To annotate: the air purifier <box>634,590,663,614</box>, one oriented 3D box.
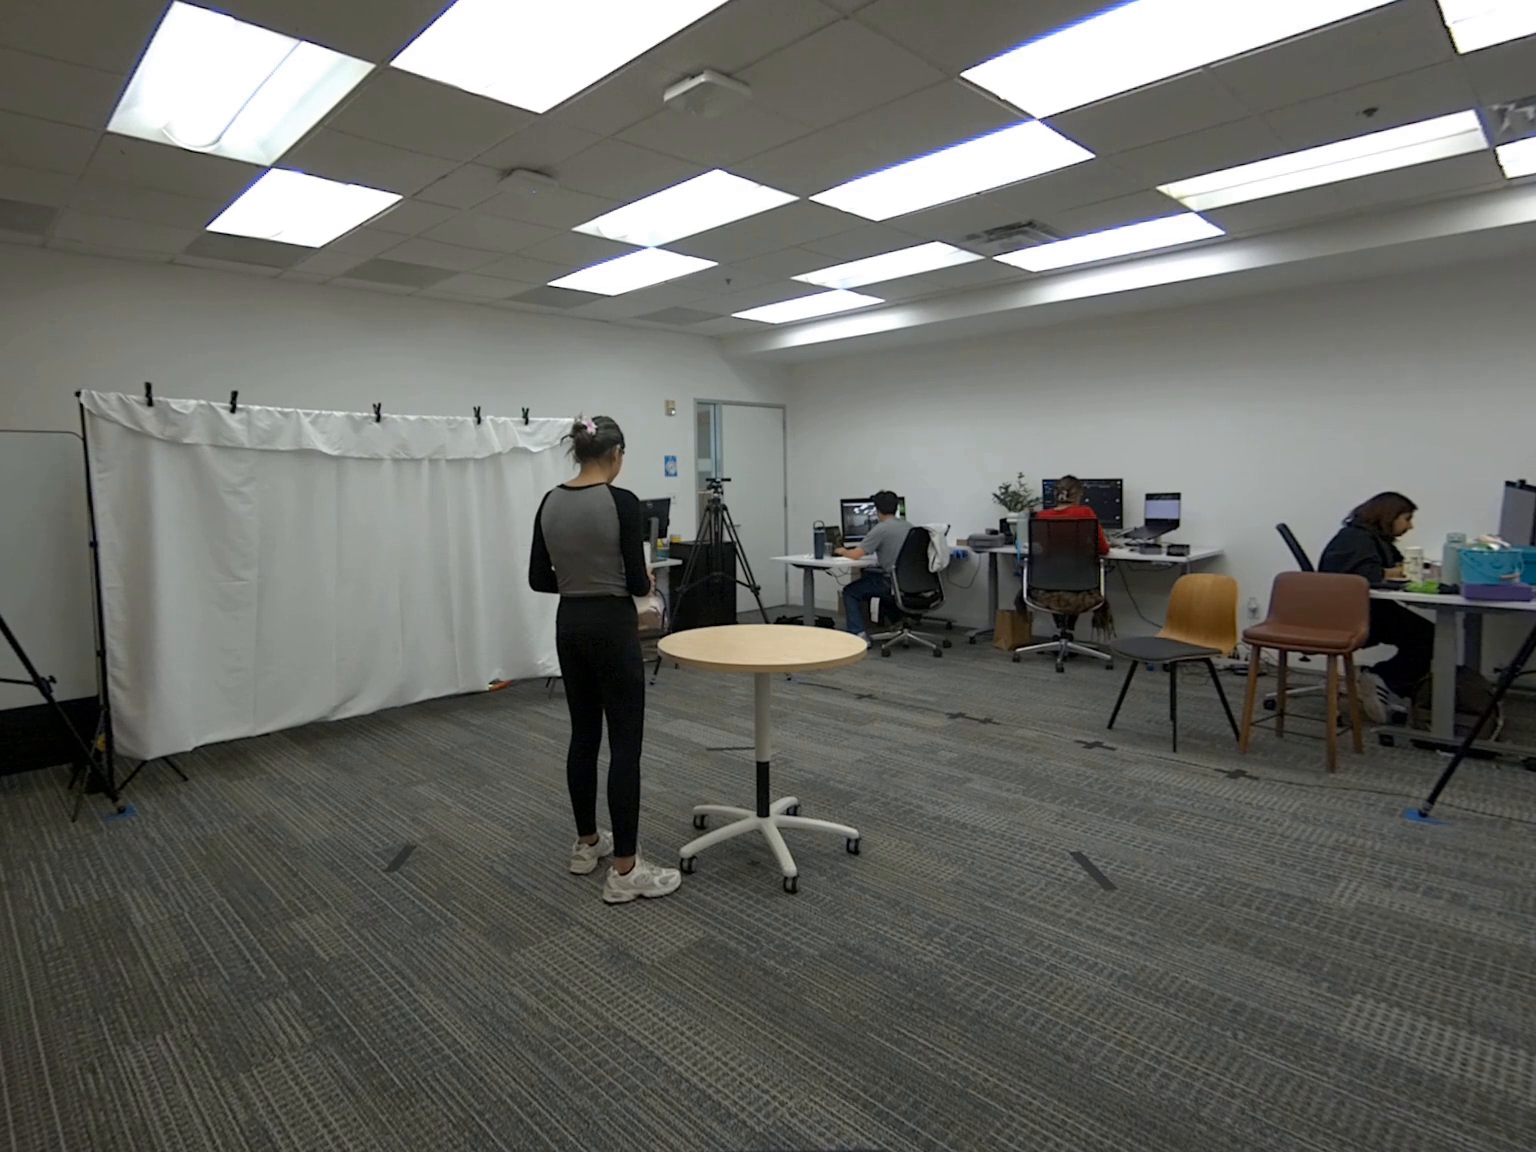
[{"bbox_3d":[-0.537,0.008,3.220,0.174,0.264,0.170,1,5,11],"label":"air purifier"}]
